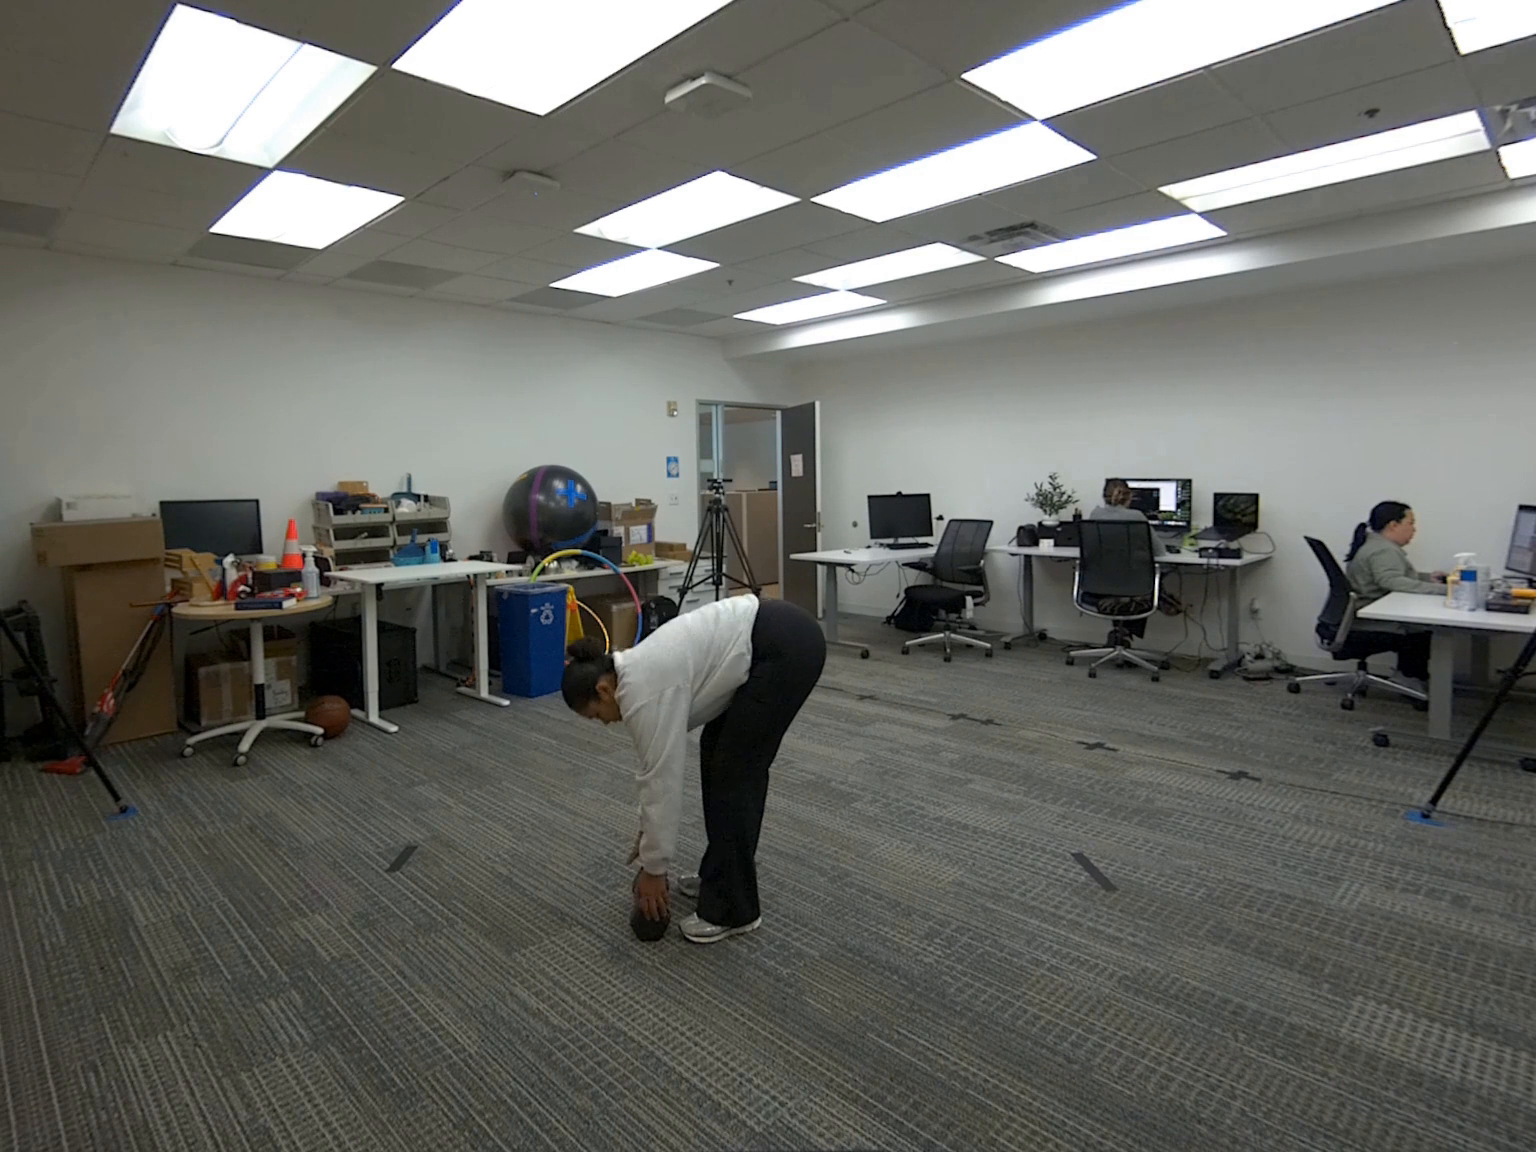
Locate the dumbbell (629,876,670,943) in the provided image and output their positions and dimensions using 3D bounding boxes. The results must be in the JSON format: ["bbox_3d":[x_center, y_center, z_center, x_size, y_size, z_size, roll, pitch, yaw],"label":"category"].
[{"bbox_3d":[-0.360,1.044,2.728,0.108,0.122,0.296,-31,9,-3],"label":"dumbbell"}]
